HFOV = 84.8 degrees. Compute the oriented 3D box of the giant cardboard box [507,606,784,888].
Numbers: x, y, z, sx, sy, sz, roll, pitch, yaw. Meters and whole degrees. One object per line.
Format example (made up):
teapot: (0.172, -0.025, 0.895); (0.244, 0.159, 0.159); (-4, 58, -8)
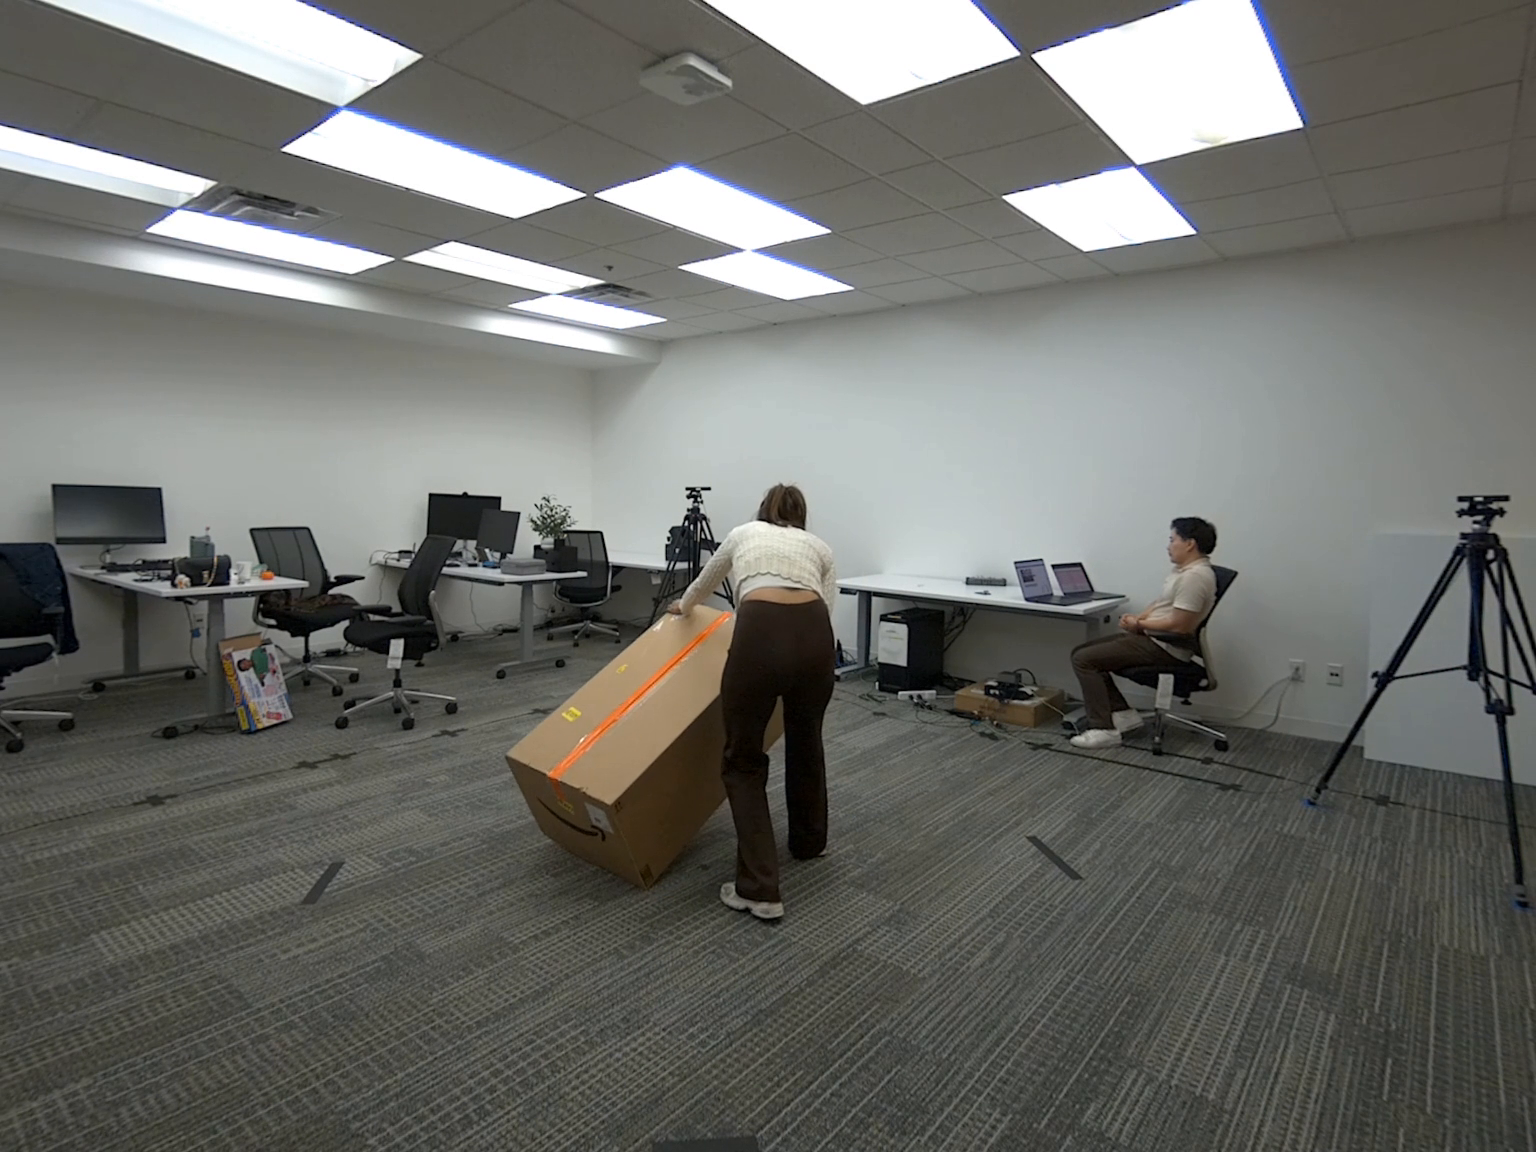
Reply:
giant cardboard box: (-0.414, 0.598, 3.320); (0.598, 0.413, 1.021); (10, 38, 37)
